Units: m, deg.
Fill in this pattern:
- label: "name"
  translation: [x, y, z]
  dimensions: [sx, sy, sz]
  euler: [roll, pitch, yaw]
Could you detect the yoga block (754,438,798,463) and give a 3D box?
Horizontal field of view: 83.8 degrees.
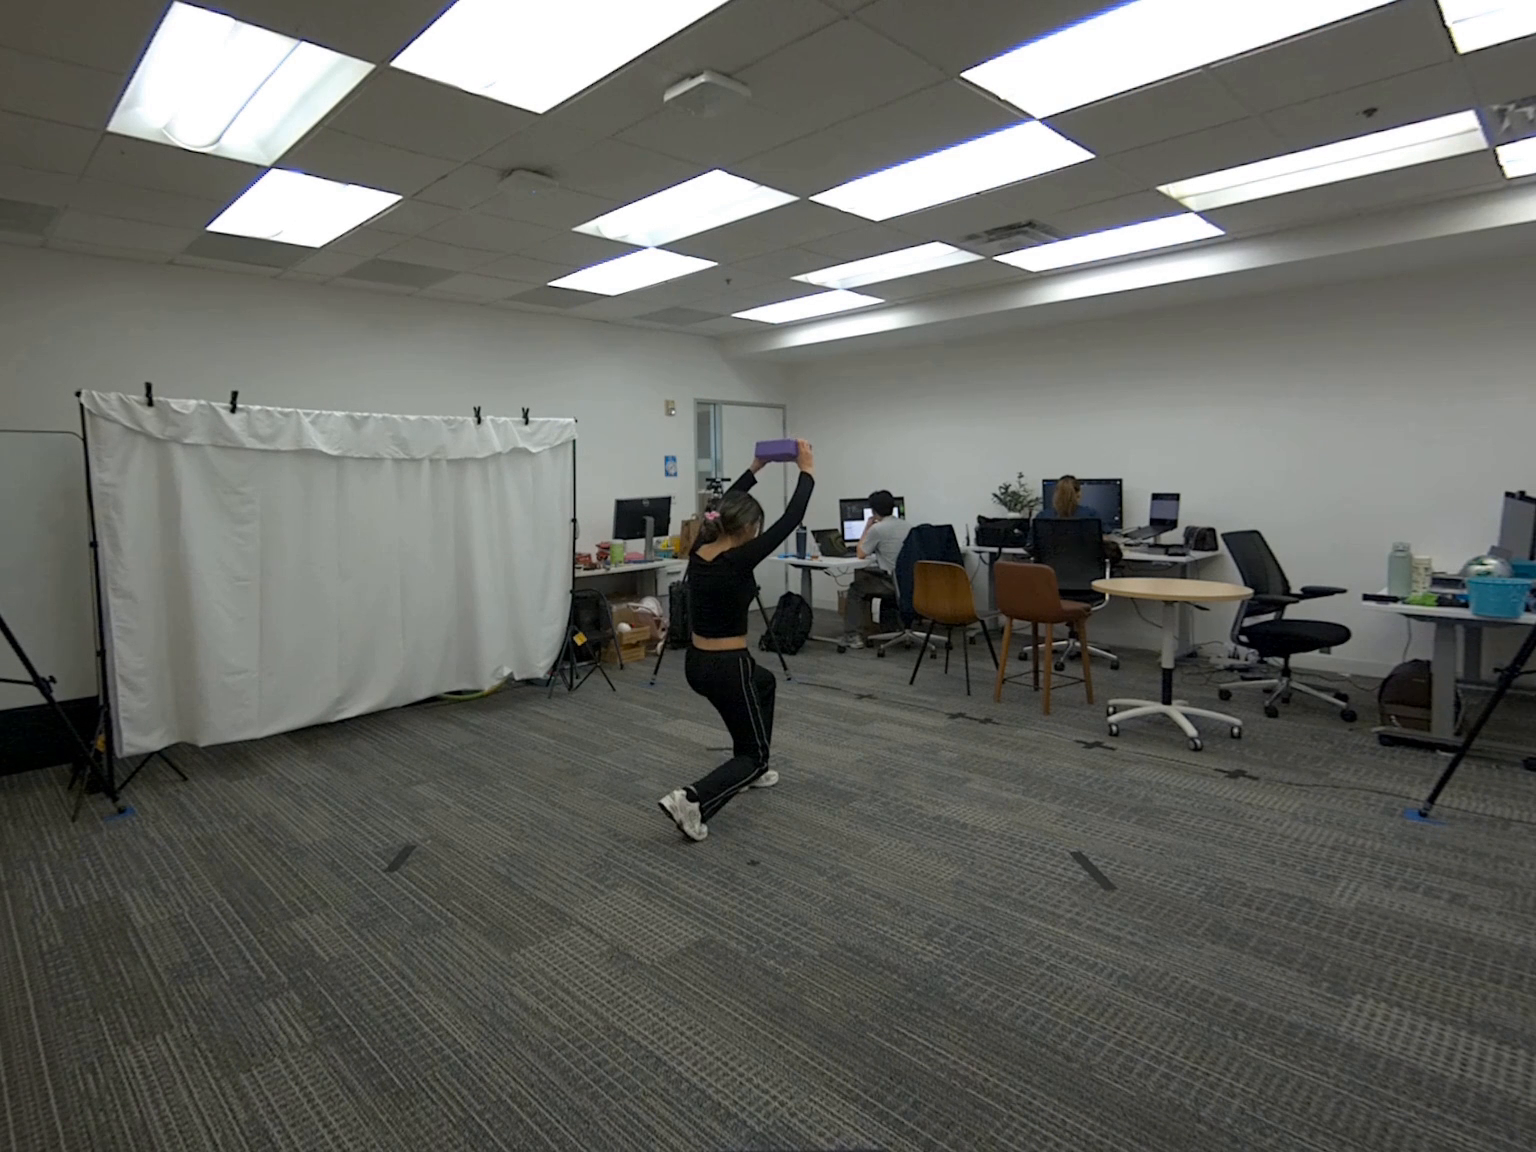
- label: "yoga block"
  translation: [0.064, -0.571, 3.829]
  dimensions: [0.144, 0.076, 0.236]
  euler: [7, -1, -39]
